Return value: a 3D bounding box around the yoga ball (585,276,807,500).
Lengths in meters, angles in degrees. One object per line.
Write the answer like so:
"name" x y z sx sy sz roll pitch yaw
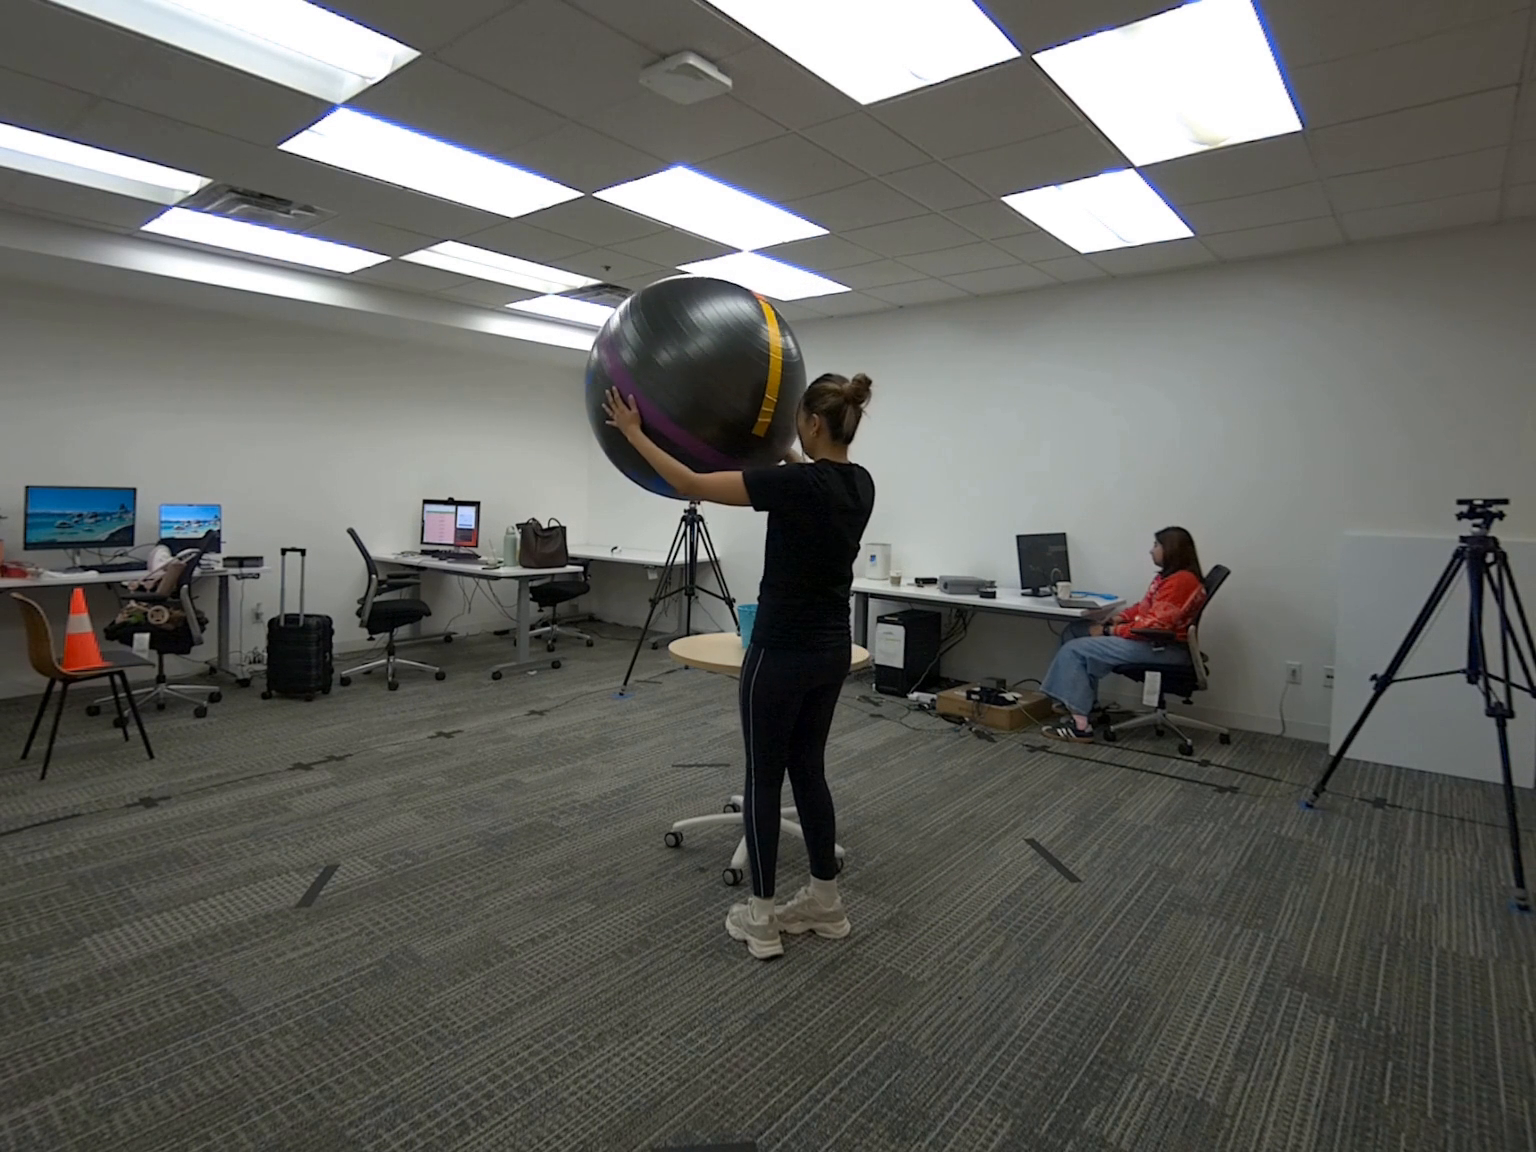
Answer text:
"yoga ball" -0.248 -0.631 2.894 0.757 0.756 0.762 1 4 -2
